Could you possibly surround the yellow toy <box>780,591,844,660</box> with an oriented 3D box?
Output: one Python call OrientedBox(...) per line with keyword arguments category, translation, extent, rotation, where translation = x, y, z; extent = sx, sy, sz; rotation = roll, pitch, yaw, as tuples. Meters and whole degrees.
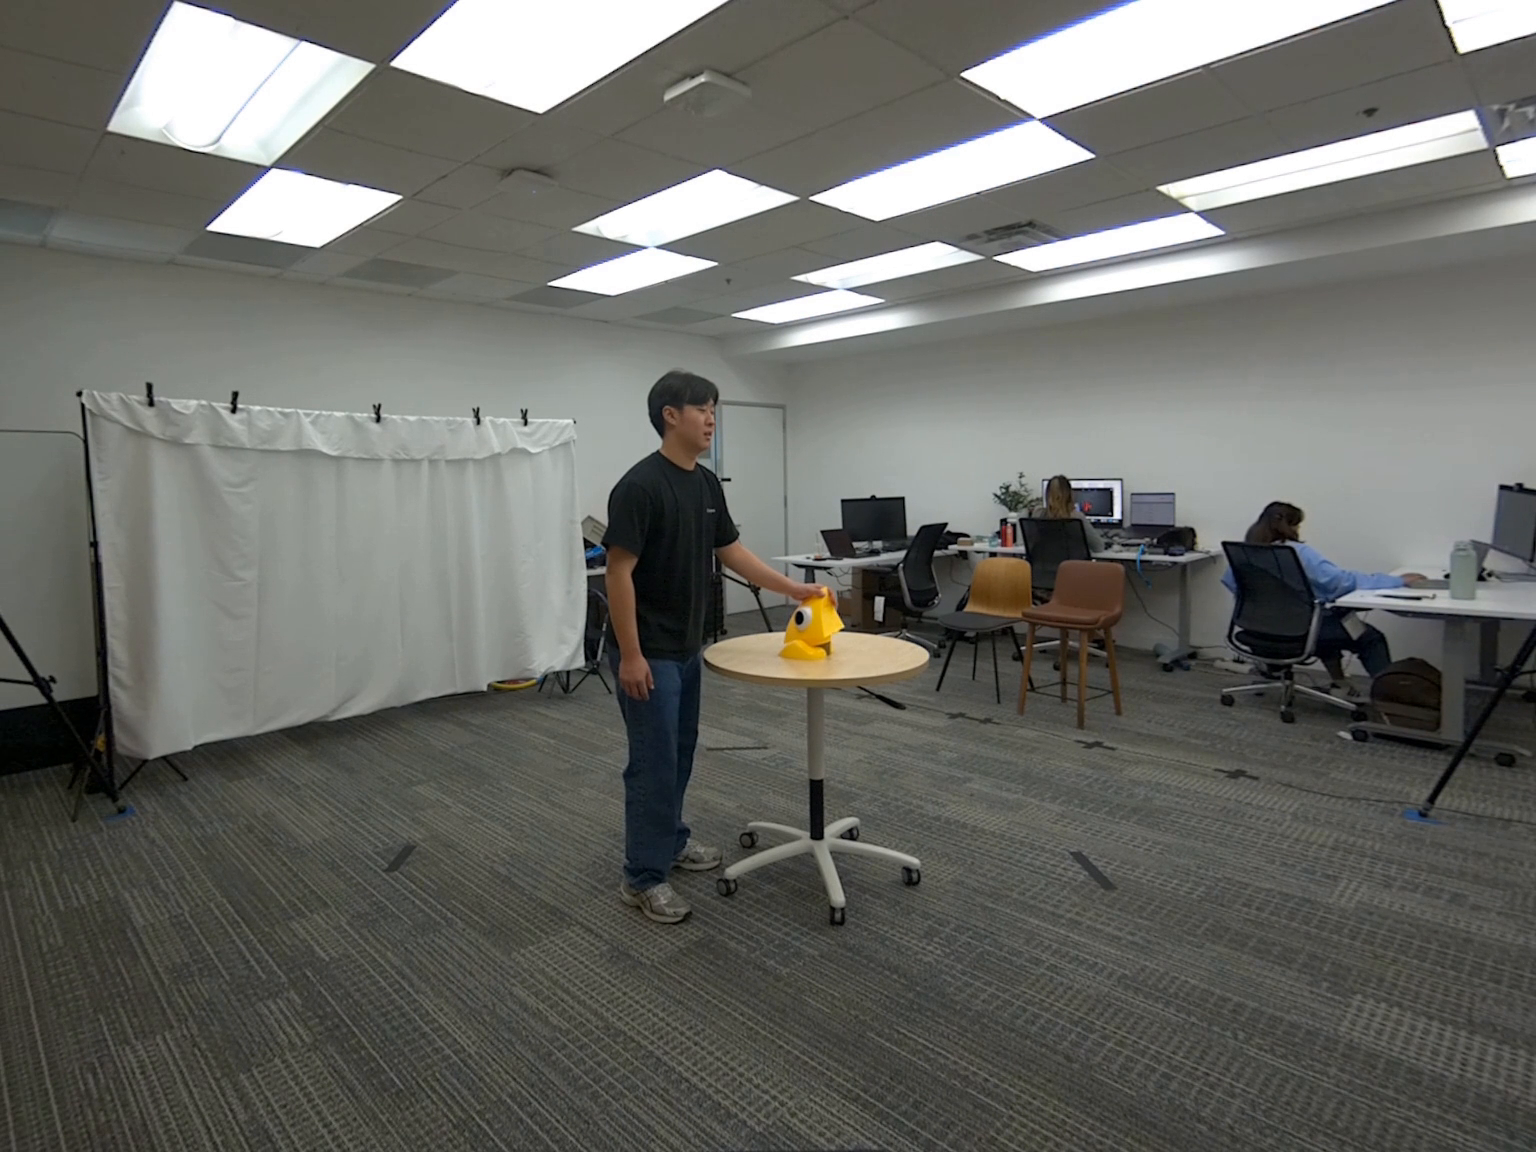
OrientedBox(category="yellow toy", translation=(0.141, 0.150, 2.909), extent=(0.197, 0.230, 0.201), rotation=(1, 5, 24))
